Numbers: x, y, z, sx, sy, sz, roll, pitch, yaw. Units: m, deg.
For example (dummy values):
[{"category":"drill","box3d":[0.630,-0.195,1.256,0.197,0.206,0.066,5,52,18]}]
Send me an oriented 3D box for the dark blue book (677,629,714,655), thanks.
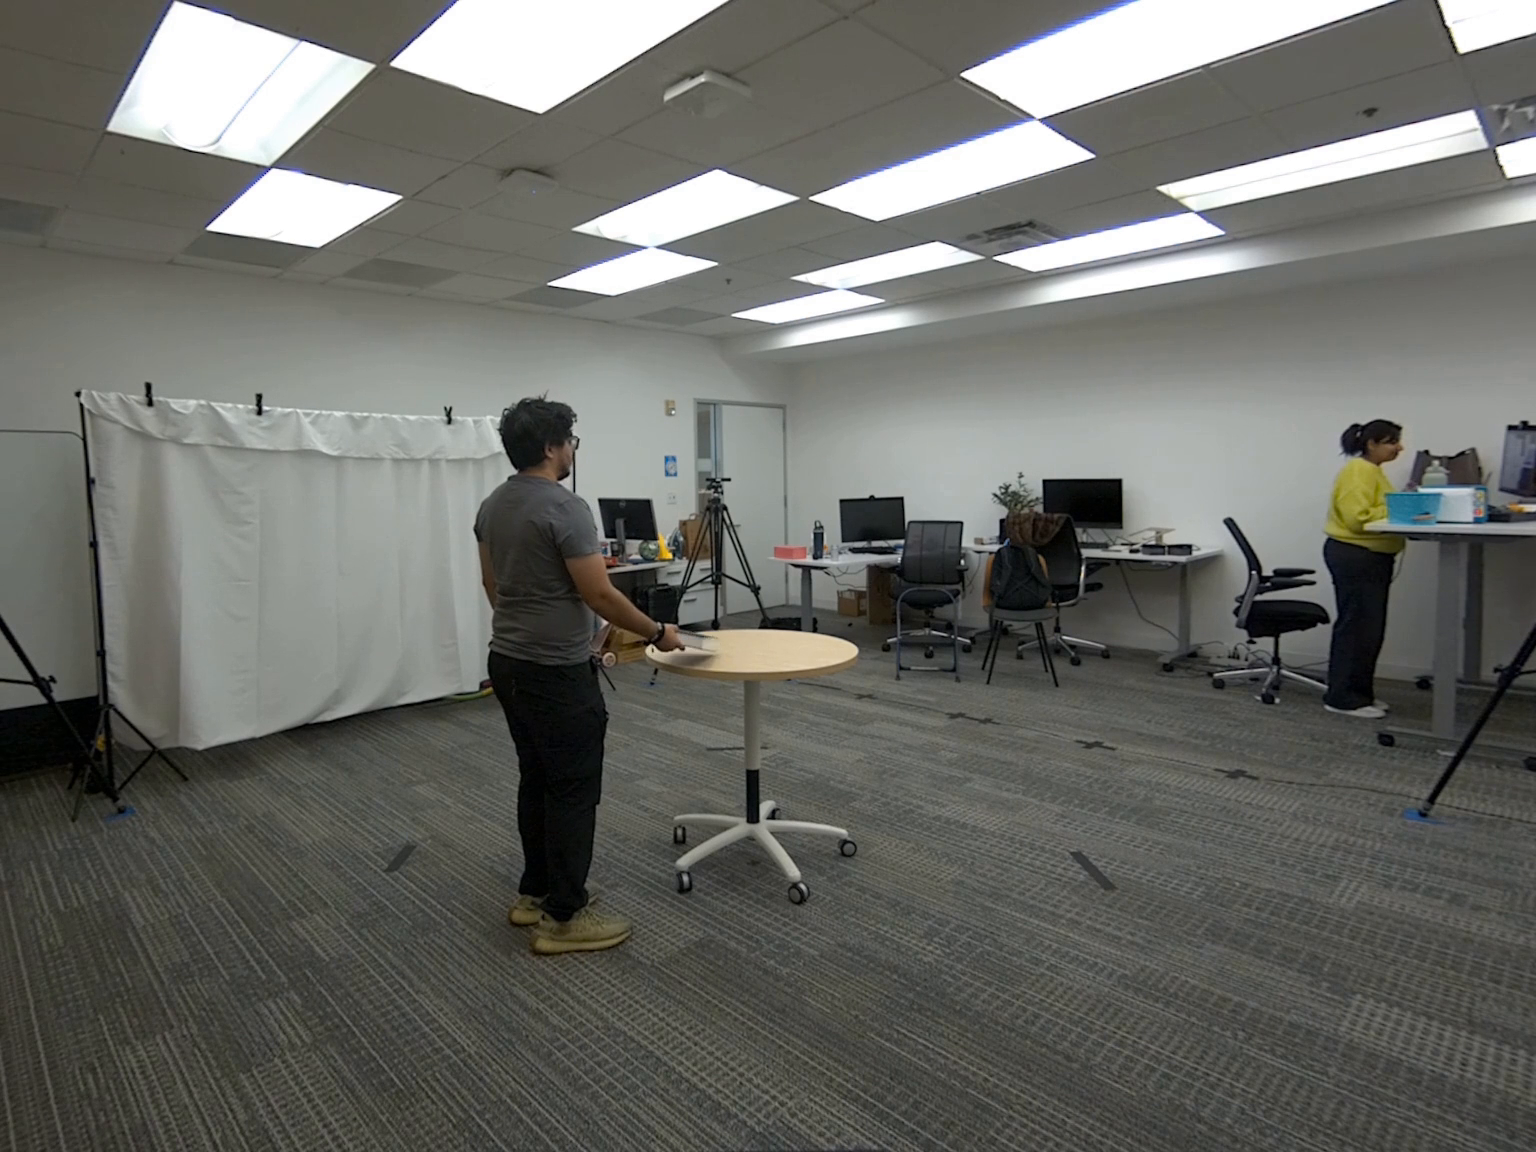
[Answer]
[{"category":"dark blue book","box3d":[-0.253,0.209,2.885,0.165,0.045,0.242,9,-4,7]}]
